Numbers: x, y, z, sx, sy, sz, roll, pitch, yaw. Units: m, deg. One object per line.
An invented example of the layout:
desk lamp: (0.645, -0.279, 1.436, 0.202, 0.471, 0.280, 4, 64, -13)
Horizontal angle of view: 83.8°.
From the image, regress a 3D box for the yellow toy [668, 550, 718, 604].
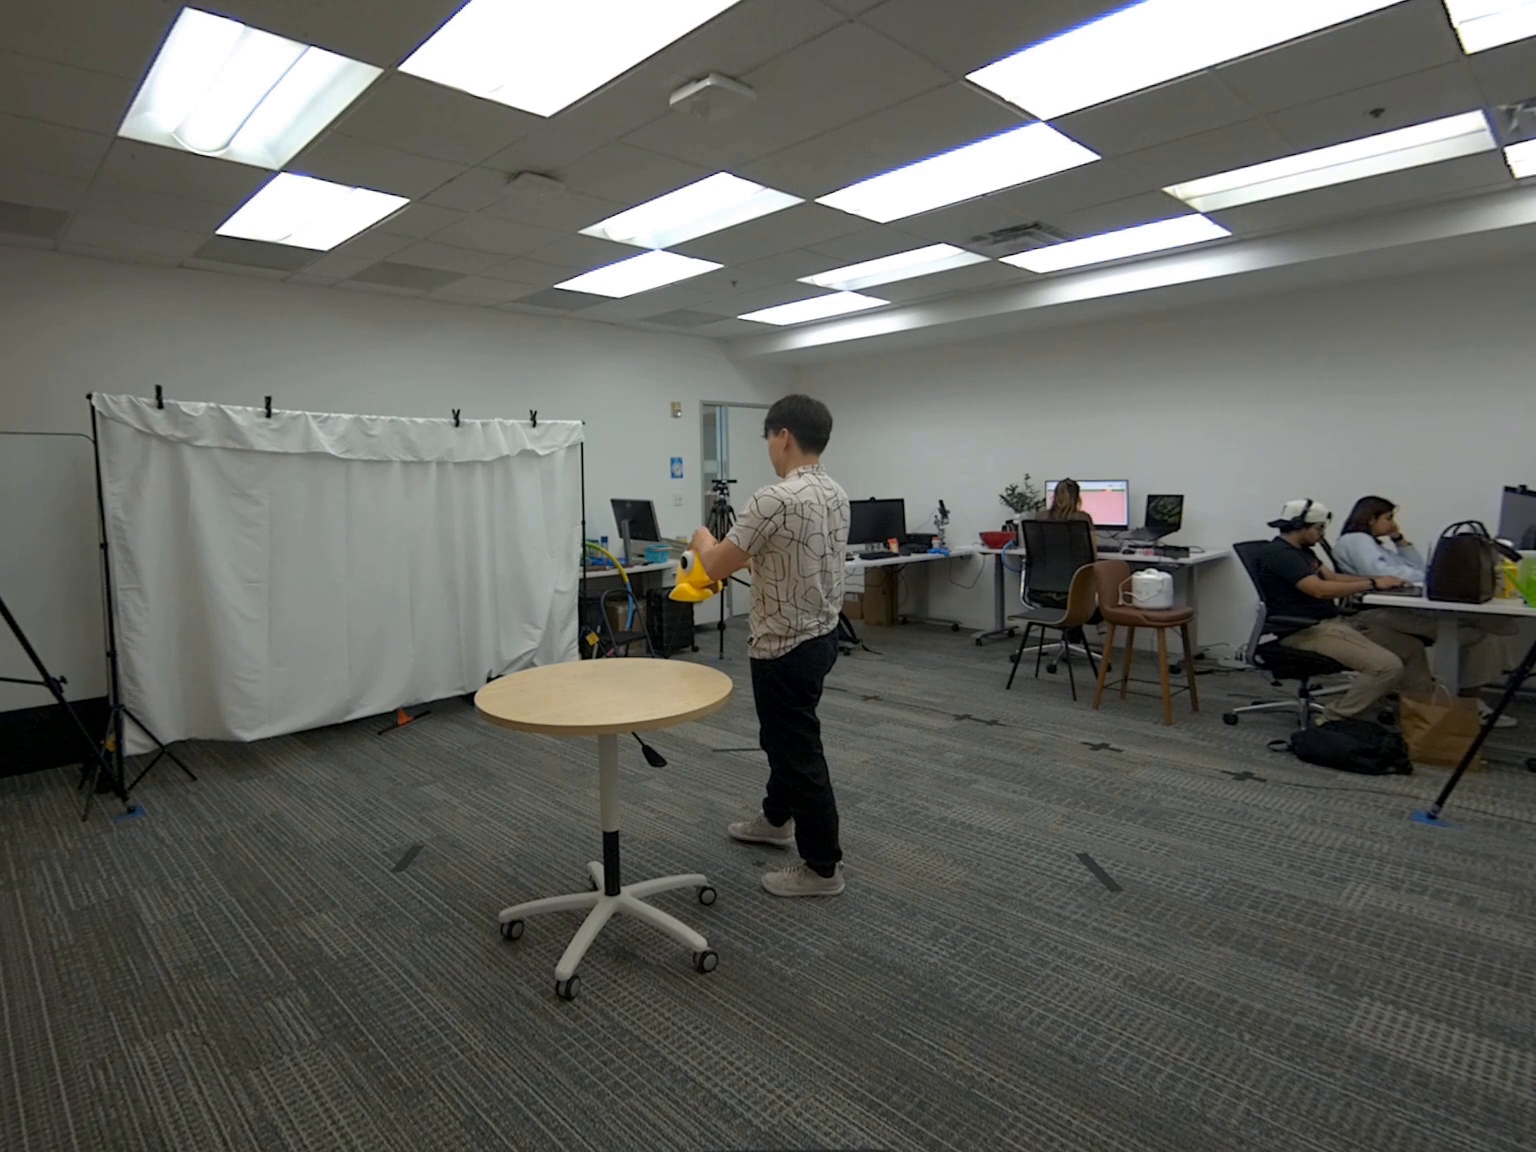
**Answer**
yellow toy: (-0.258, -0.050, 3.078, 0.197, 0.228, 0.203, 1, 13, 24)
